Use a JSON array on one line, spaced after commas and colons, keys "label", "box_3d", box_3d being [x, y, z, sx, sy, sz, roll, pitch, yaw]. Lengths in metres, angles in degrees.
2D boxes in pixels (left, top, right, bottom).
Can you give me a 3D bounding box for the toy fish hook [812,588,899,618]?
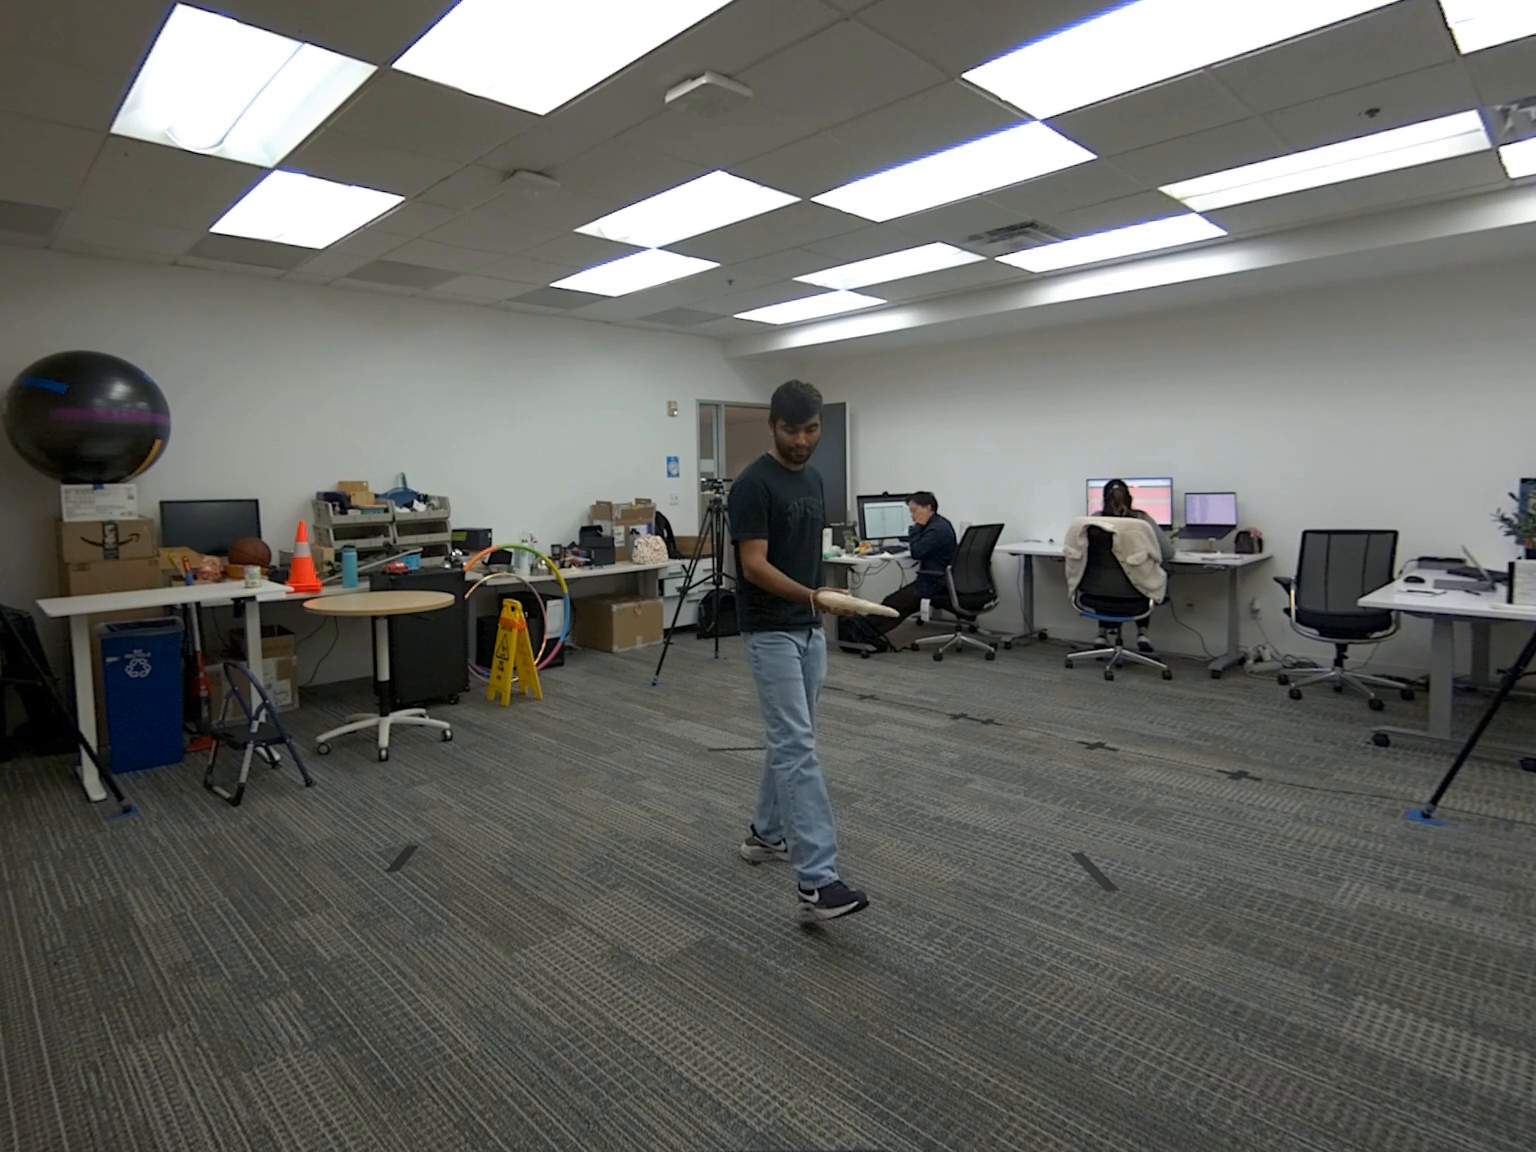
[{"label": "toy fish hook", "box_3d": [0.263, 0.102, 2.519, 0.225, 0.048, 0.503, 18, -4, 1]}]
